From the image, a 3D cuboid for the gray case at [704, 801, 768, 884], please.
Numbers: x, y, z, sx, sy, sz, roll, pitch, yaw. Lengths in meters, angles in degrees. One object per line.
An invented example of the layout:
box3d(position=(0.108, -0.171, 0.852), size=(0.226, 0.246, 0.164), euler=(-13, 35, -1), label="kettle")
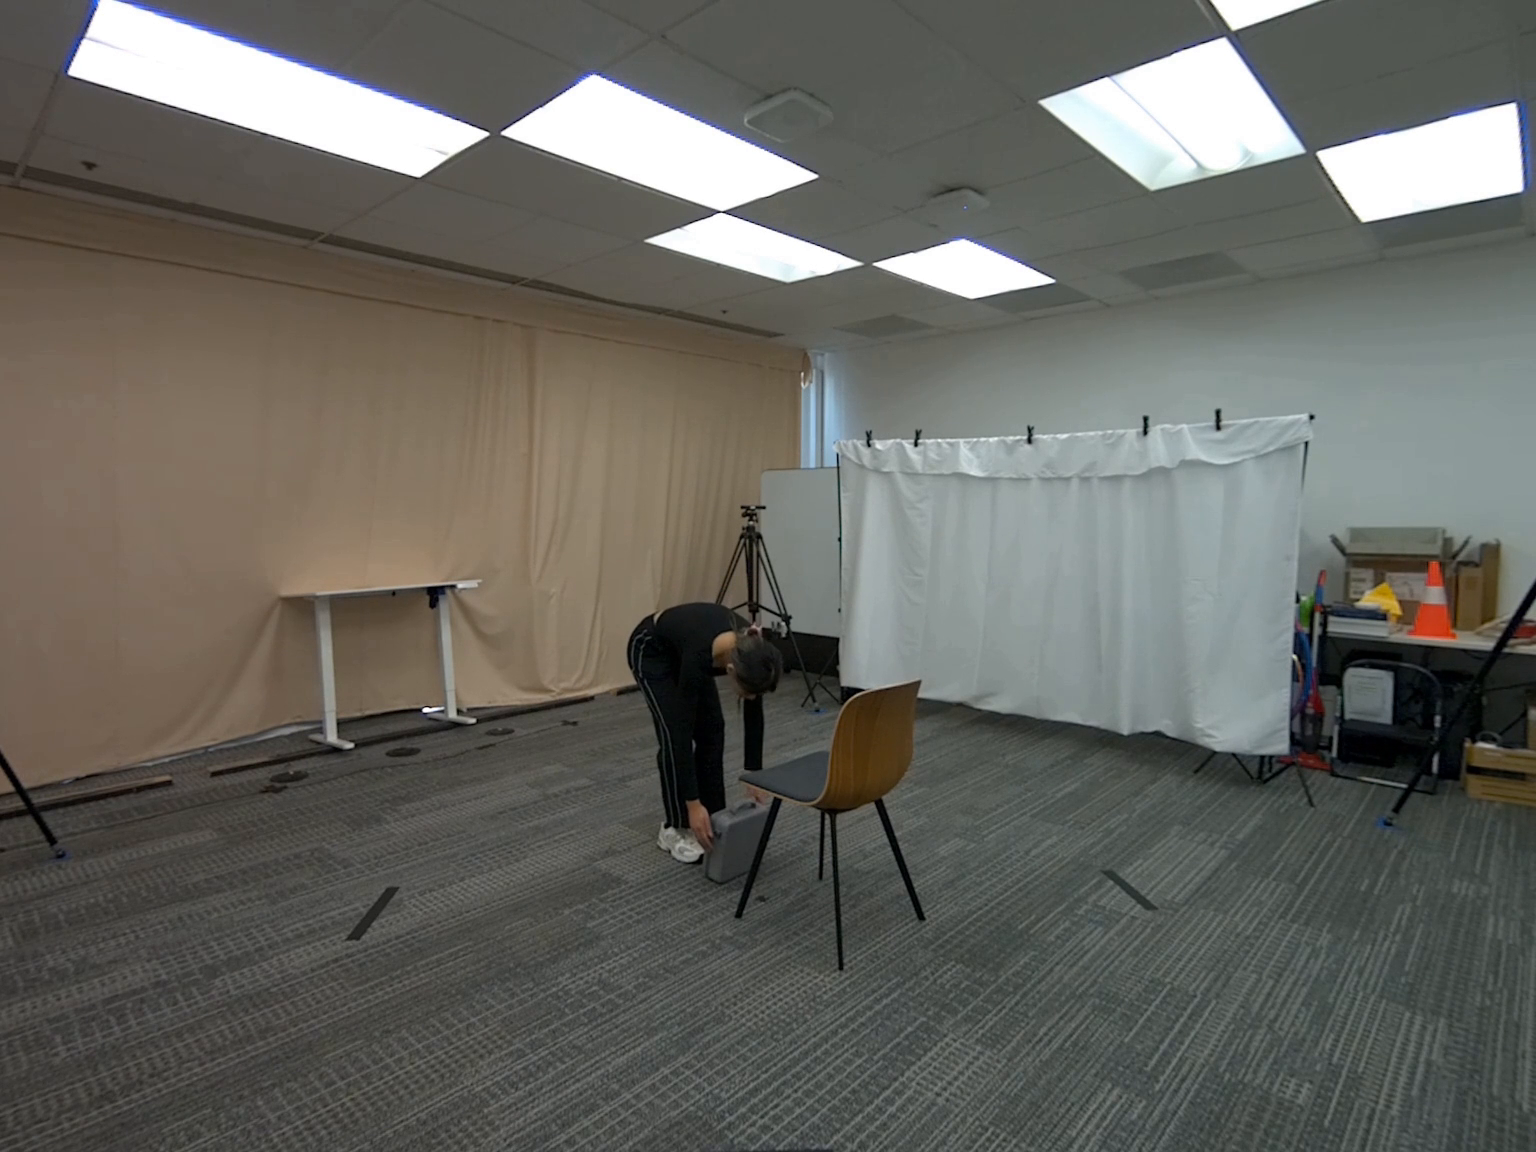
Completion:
box3d(position=(-0.119, 0.994, 3.186), size=(0.108, 0.259, 0.249), euler=(15, 13, 43), label="gray case")
